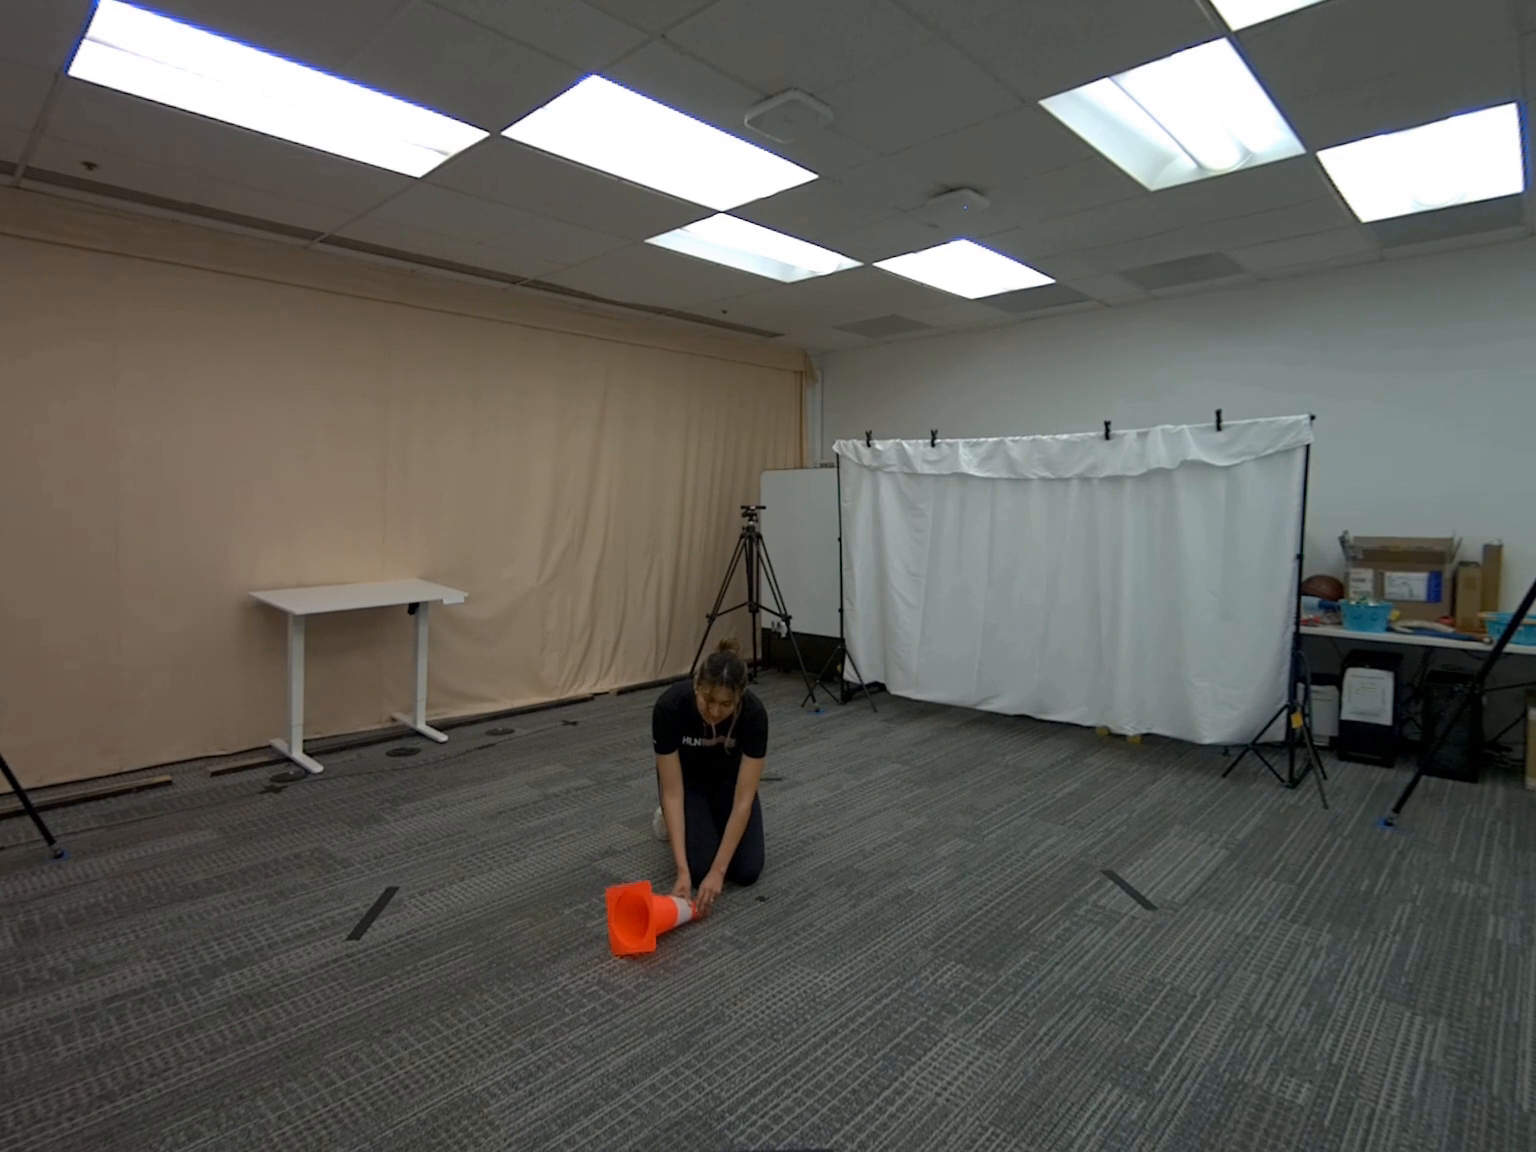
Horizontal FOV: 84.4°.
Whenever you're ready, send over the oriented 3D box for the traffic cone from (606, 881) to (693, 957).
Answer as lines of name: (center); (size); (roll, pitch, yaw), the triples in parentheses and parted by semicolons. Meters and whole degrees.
traffic cone: (-0.315, 1.089, 2.743); (0.209, 0.206, 0.370); (-23, -25, 31)
